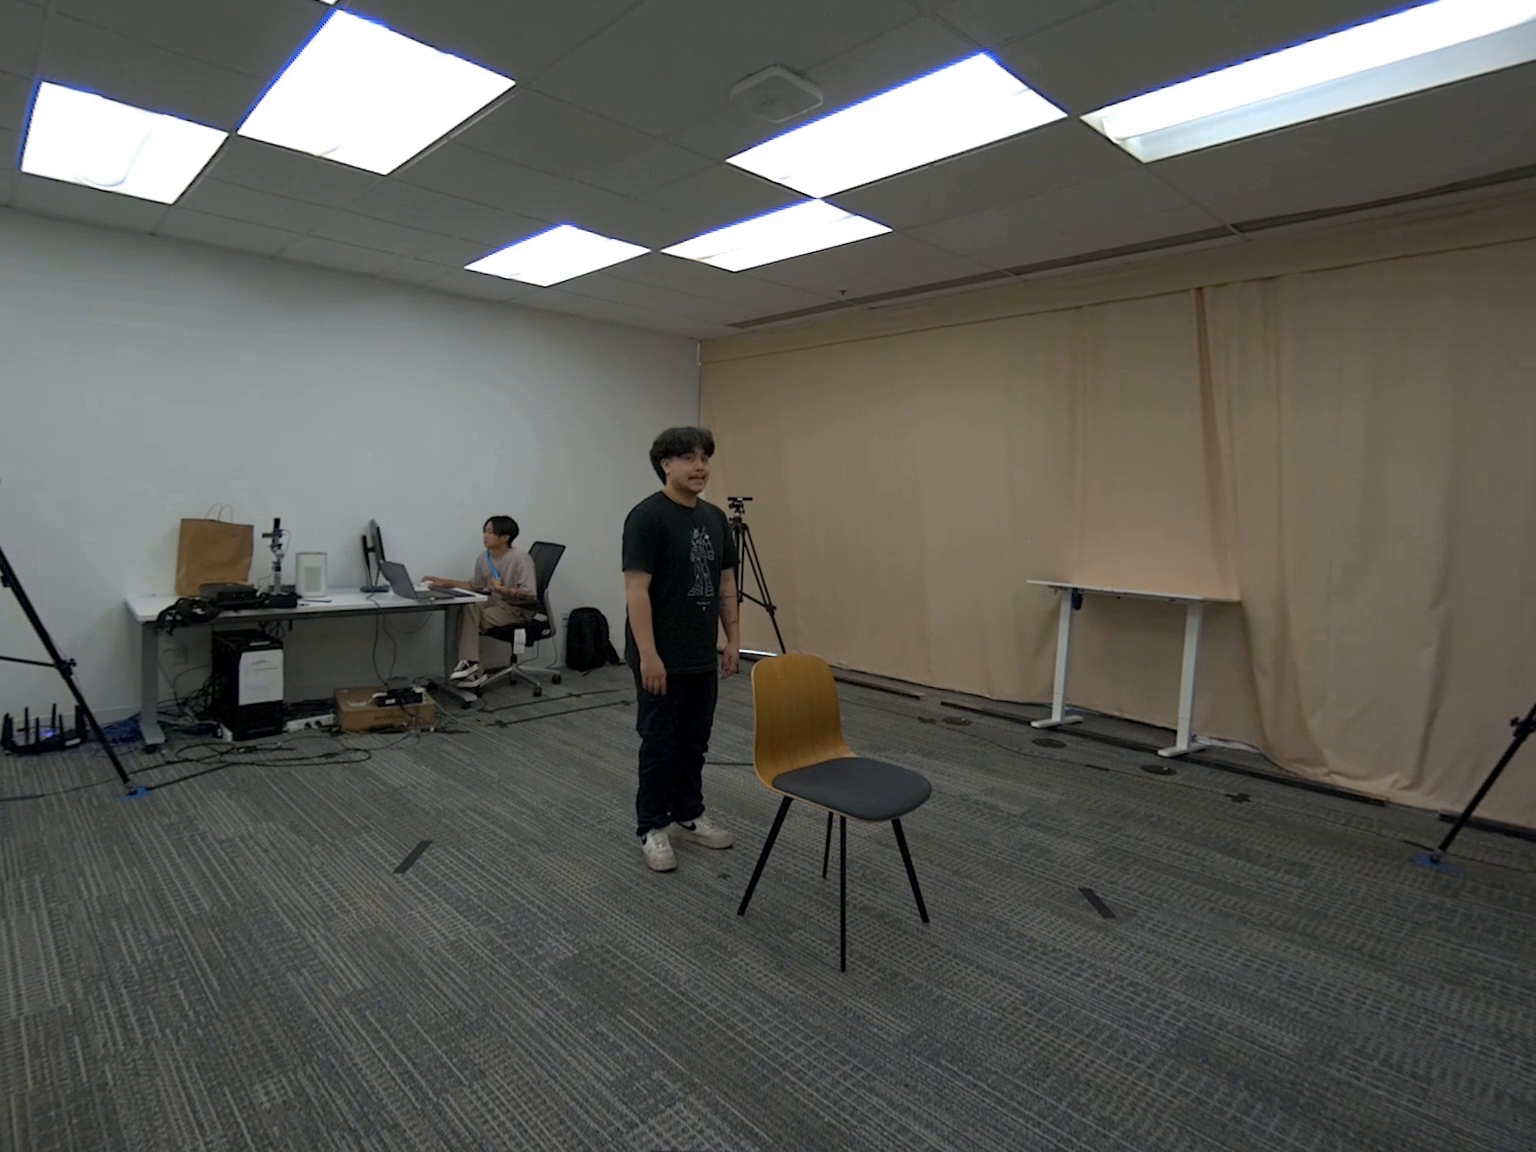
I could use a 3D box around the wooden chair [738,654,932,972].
[{"bbox_3d":[0.229,0.720,2.763,0.467,0.877,0.535,-2,1,-45],"label":"wooden chair"}]
